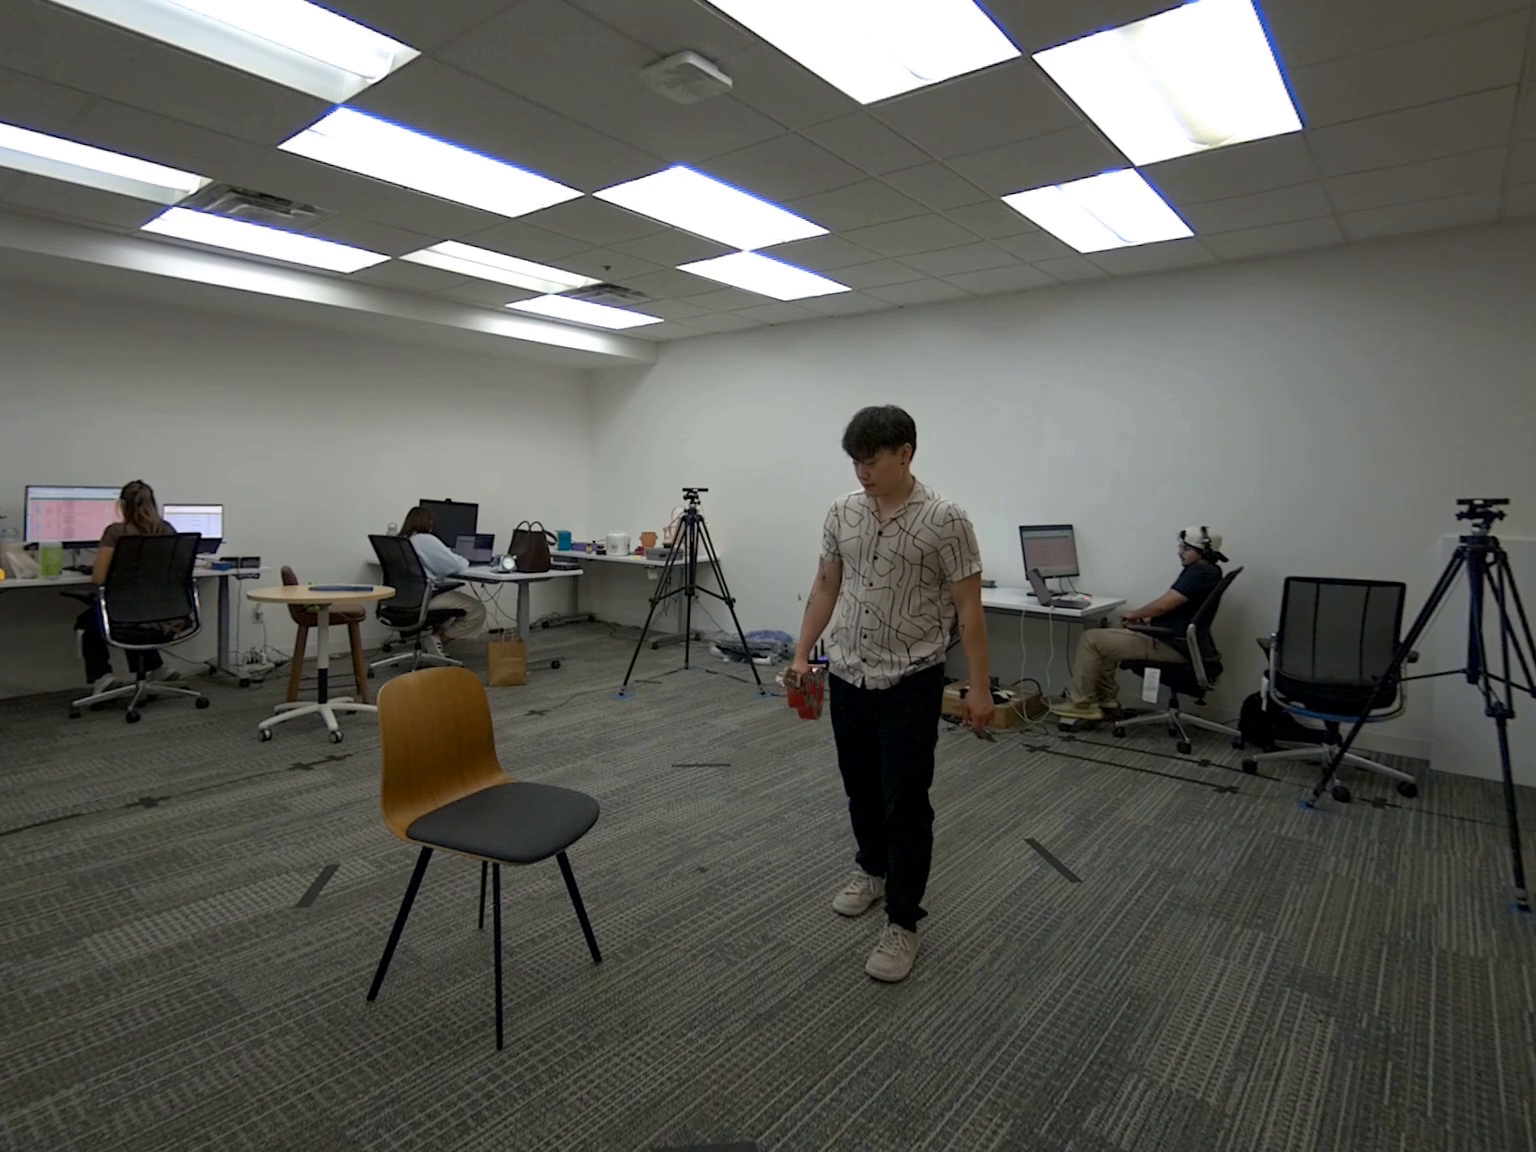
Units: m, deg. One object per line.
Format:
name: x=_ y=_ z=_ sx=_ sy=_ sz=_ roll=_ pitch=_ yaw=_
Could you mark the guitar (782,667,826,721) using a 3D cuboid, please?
guitar: x=0.108 y=0.339 z=2.857 sx=0.072 sy=0.196 sz=0.480 roll=2 pitch=-22 yaw=19
